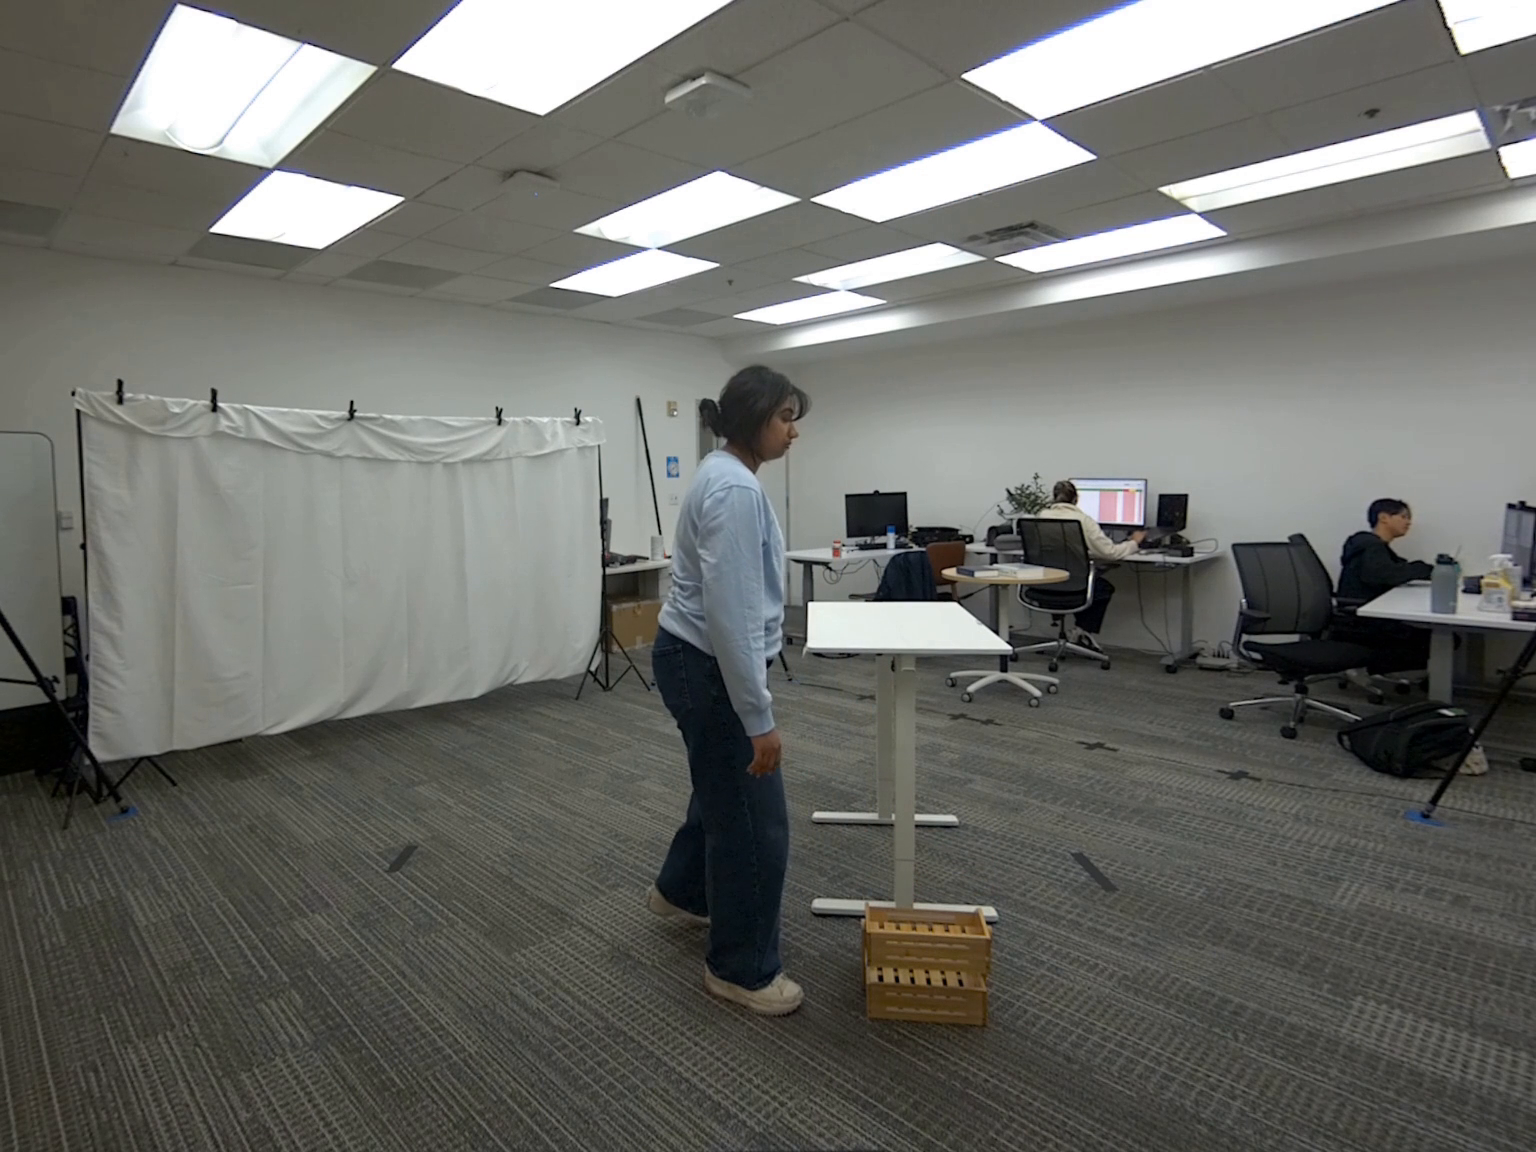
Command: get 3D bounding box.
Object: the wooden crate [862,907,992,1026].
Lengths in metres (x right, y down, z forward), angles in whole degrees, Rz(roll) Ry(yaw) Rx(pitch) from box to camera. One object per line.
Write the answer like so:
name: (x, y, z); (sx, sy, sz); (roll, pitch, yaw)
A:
wooden crate: (0.417, 0.998, 2.282); (0.327, 0.272, 0.301); (0, 6, 7)
